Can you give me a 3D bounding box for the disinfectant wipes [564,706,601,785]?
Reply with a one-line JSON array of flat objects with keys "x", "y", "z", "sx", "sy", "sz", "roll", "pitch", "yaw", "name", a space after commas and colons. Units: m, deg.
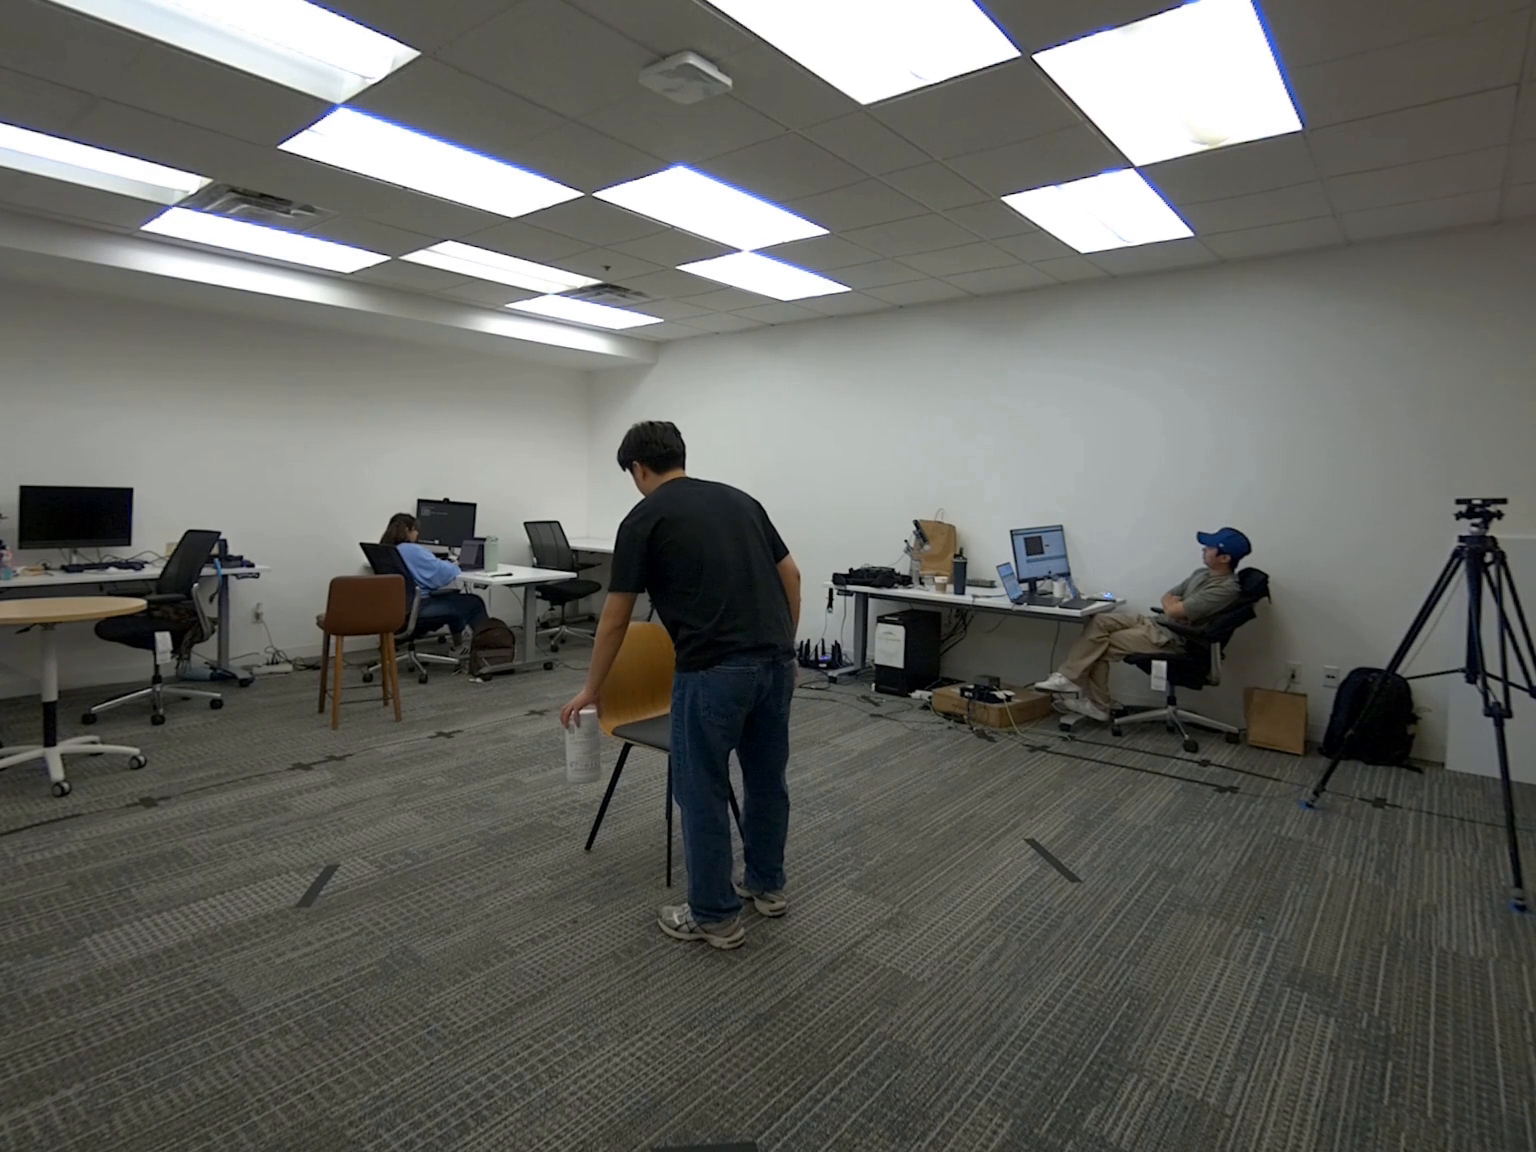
[{"x": -0.608, "y": 0.536, "z": 2.716, "sx": 0.118, "sy": 0.218, "sz": 0.118, "roll": -1, "pitch": -1, "yaw": -2, "name": "disinfectant wipes"}]
